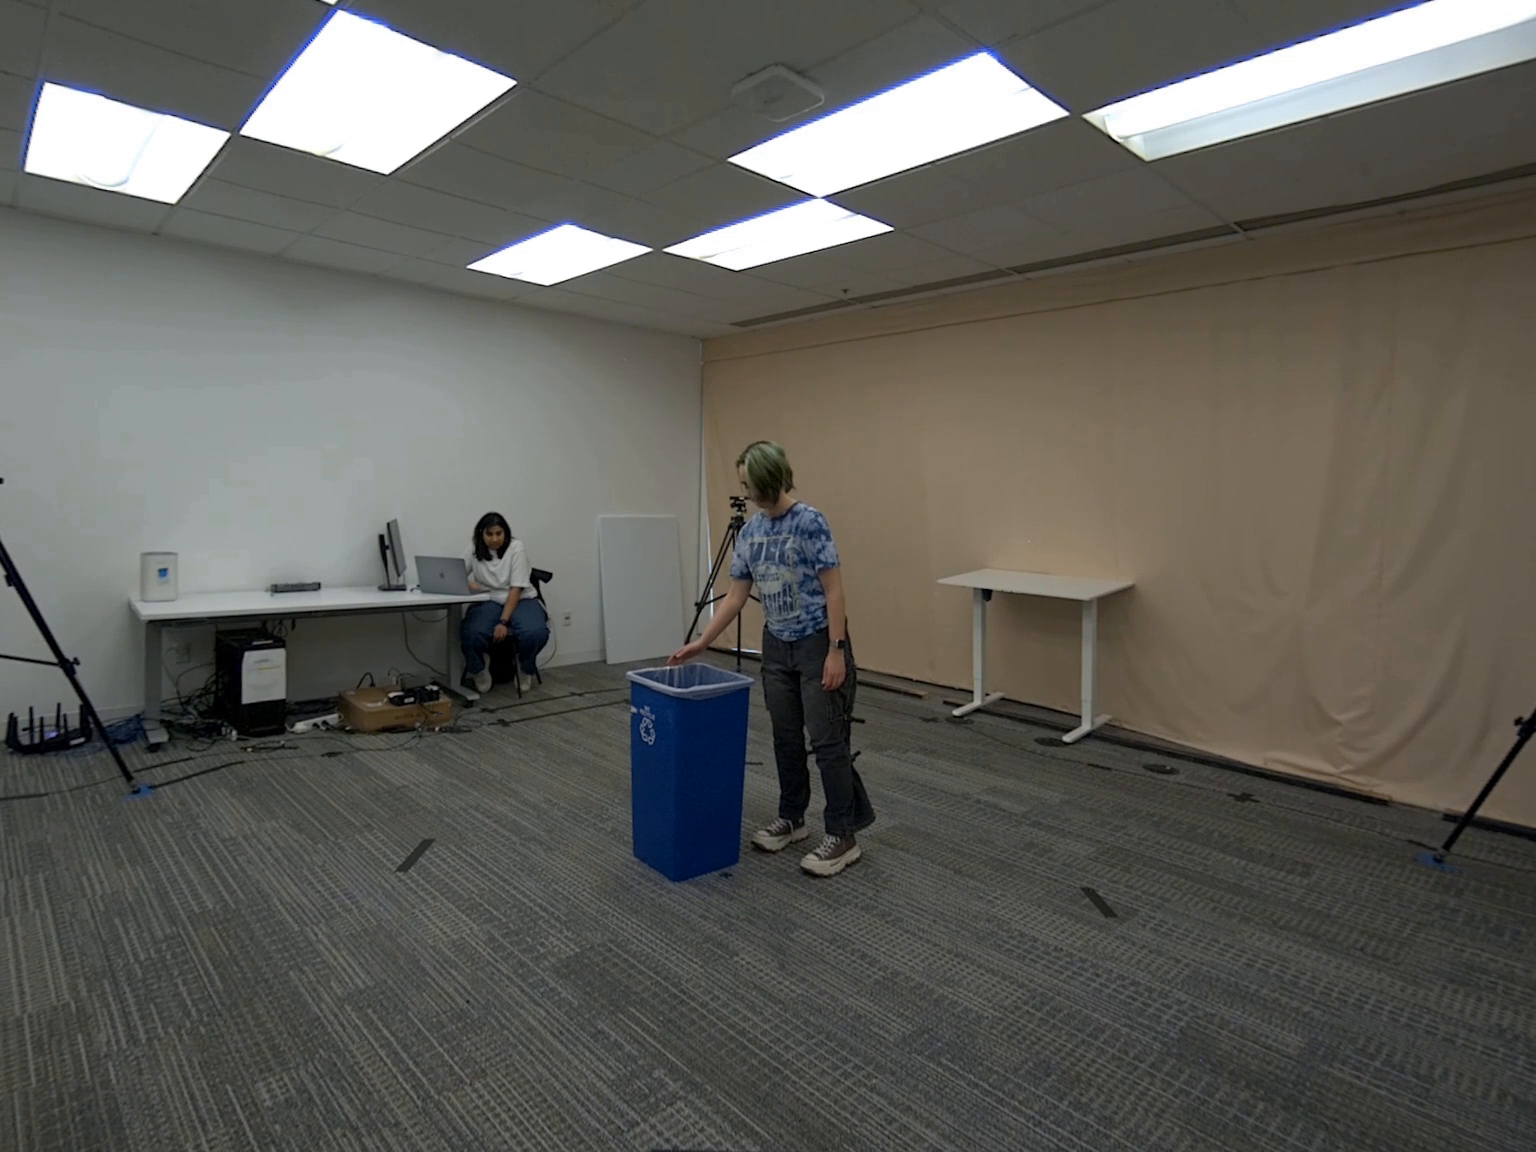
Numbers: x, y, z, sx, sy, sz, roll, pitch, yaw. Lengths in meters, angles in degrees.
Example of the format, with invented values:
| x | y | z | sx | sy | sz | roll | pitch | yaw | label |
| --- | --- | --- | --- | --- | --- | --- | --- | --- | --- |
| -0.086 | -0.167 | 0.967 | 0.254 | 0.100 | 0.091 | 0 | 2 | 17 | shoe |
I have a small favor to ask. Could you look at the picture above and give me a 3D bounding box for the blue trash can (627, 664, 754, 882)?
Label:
| x | y | z | sx | sy | sz | roll | pitch | yaw | label |
| --- | --- | --- | --- | --- | --- | --- | --- | --- | --- |
| -0.309 | 0.733 | 3.210 | 0.369 | 0.712 | 0.383 | -2 | 5 | -40 | blue trash can |
